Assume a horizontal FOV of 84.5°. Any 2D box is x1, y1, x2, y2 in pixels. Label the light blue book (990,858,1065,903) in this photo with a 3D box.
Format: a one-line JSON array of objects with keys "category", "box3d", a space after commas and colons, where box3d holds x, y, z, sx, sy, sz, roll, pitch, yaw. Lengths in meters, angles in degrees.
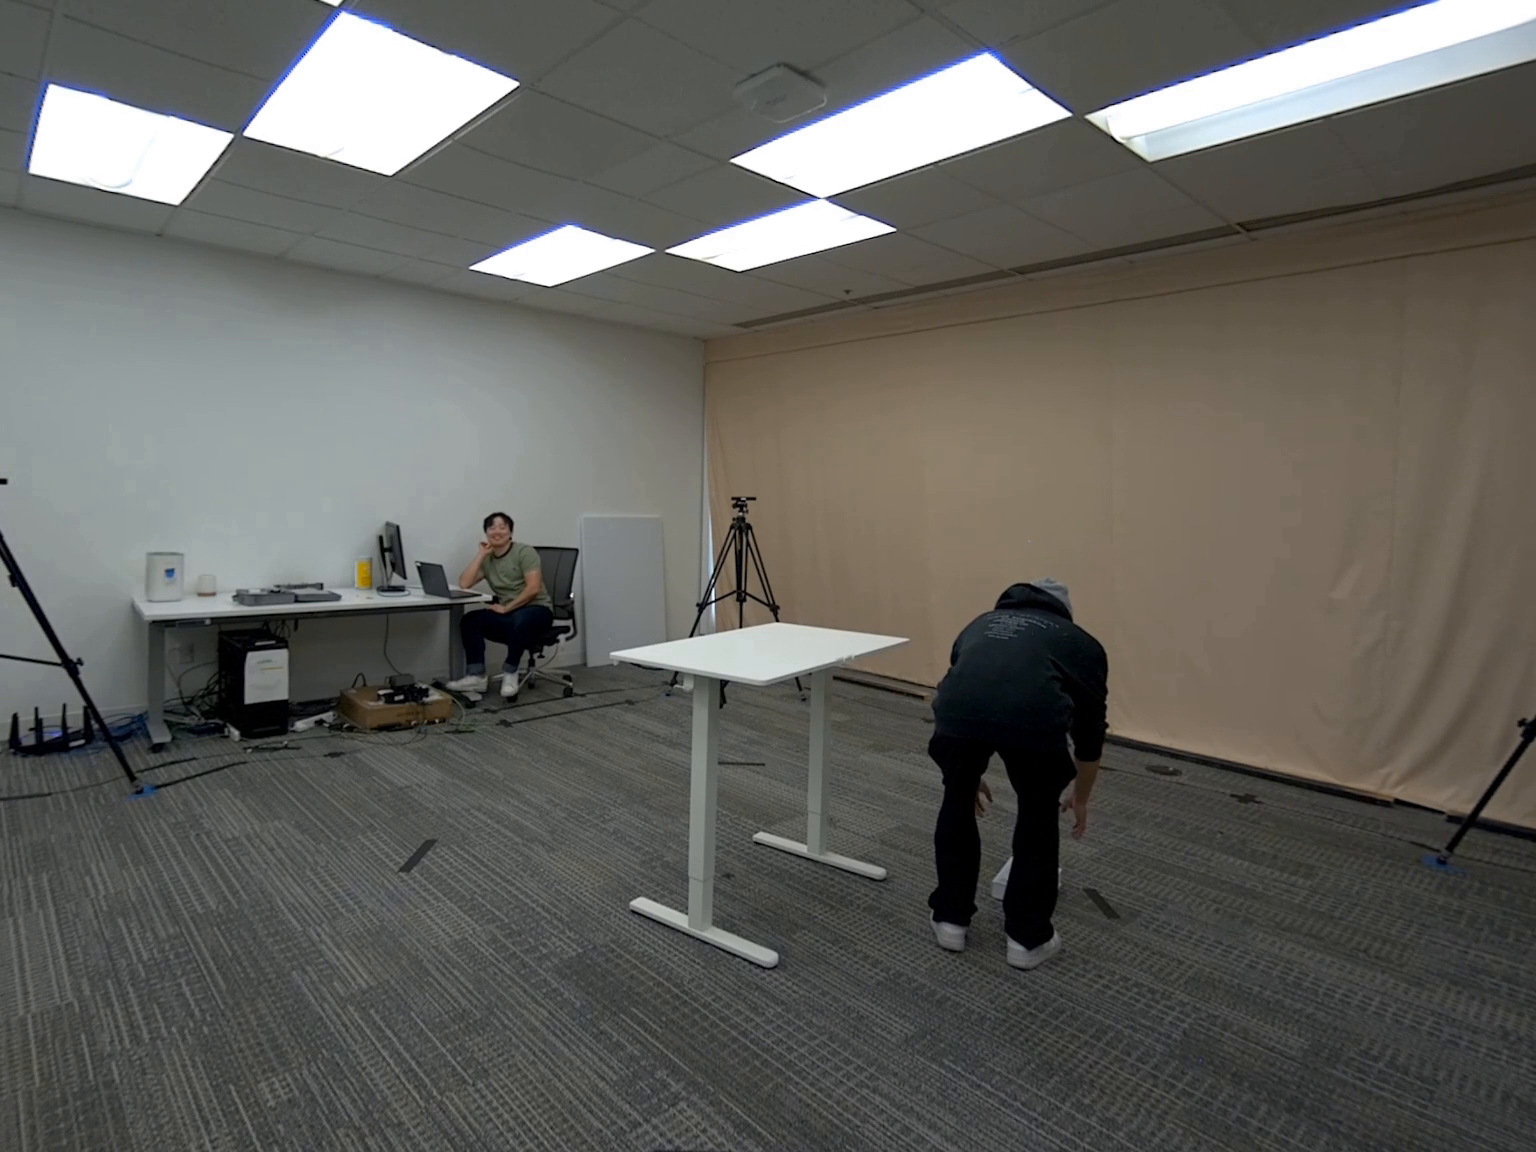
[{"category": "light blue book", "box3d": [0.936, 1.115, 3.049, 0.196, 0.059, 0.256, 5, 6, 31]}]
